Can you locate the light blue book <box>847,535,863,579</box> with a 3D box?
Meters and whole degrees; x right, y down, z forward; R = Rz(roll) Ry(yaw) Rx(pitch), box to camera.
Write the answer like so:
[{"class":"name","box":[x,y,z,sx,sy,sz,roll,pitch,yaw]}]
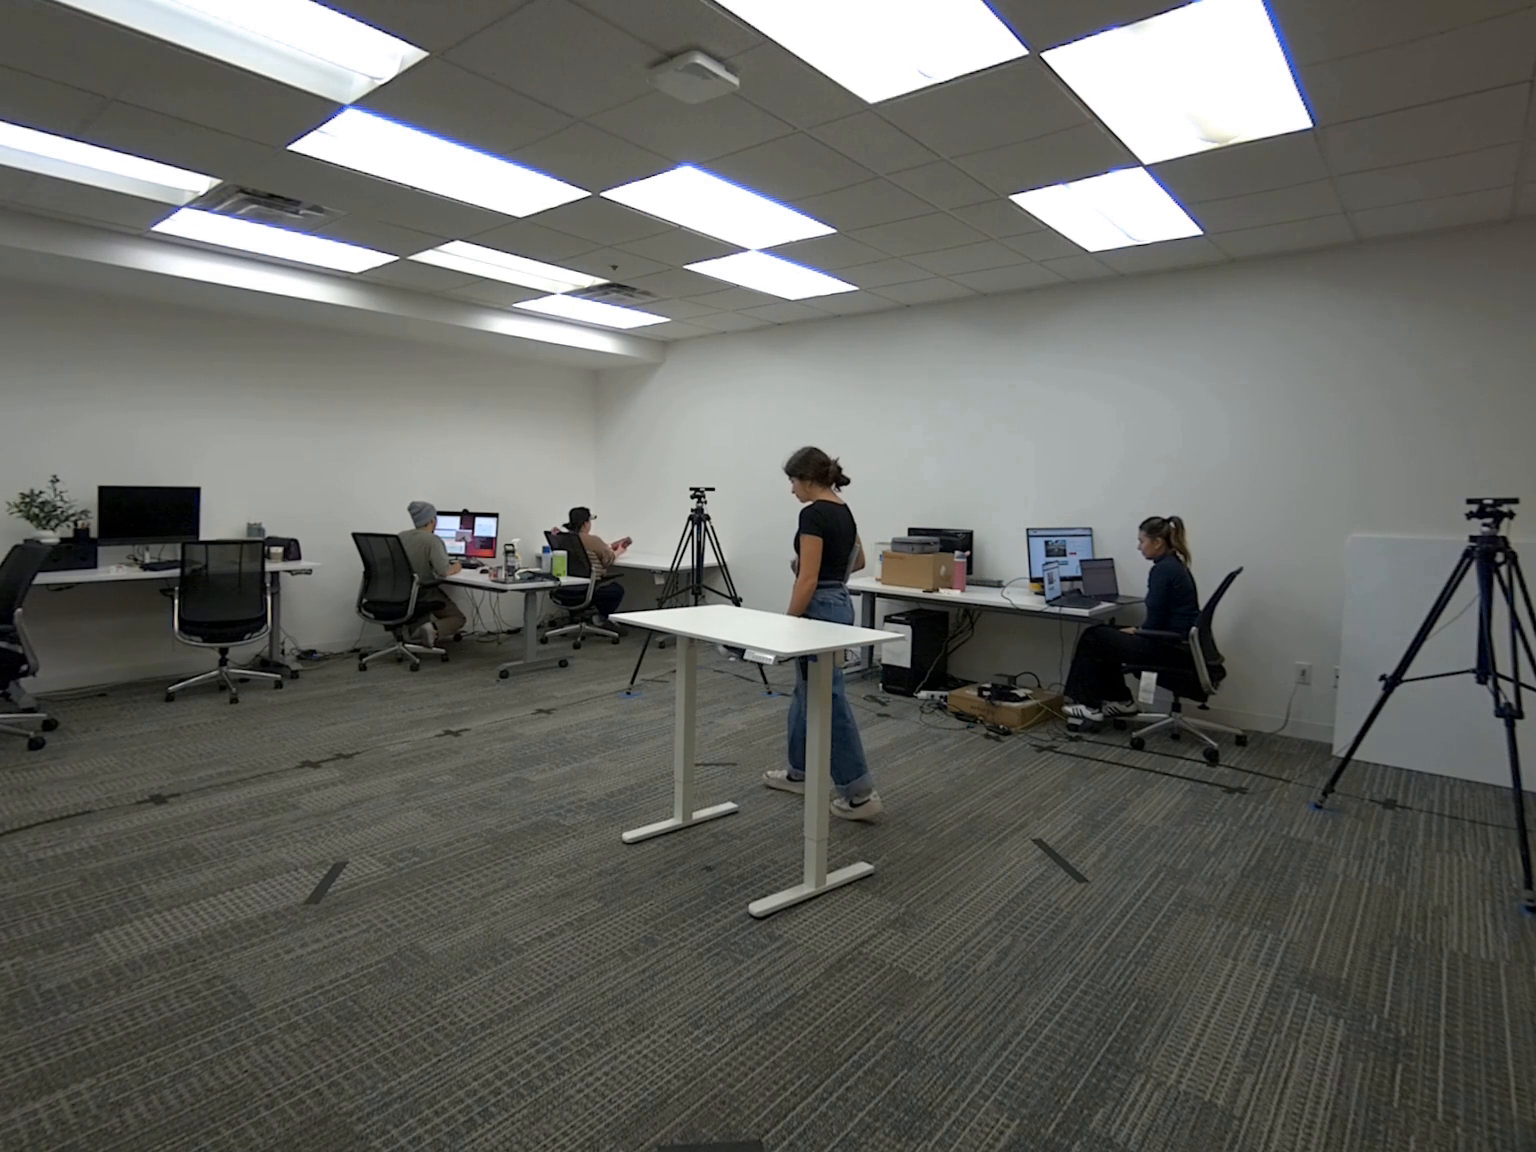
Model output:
[{"class":"light blue book","box":[0.254,-0.099,3.904,0.265,0.190,0.058,19,9,10]}]
